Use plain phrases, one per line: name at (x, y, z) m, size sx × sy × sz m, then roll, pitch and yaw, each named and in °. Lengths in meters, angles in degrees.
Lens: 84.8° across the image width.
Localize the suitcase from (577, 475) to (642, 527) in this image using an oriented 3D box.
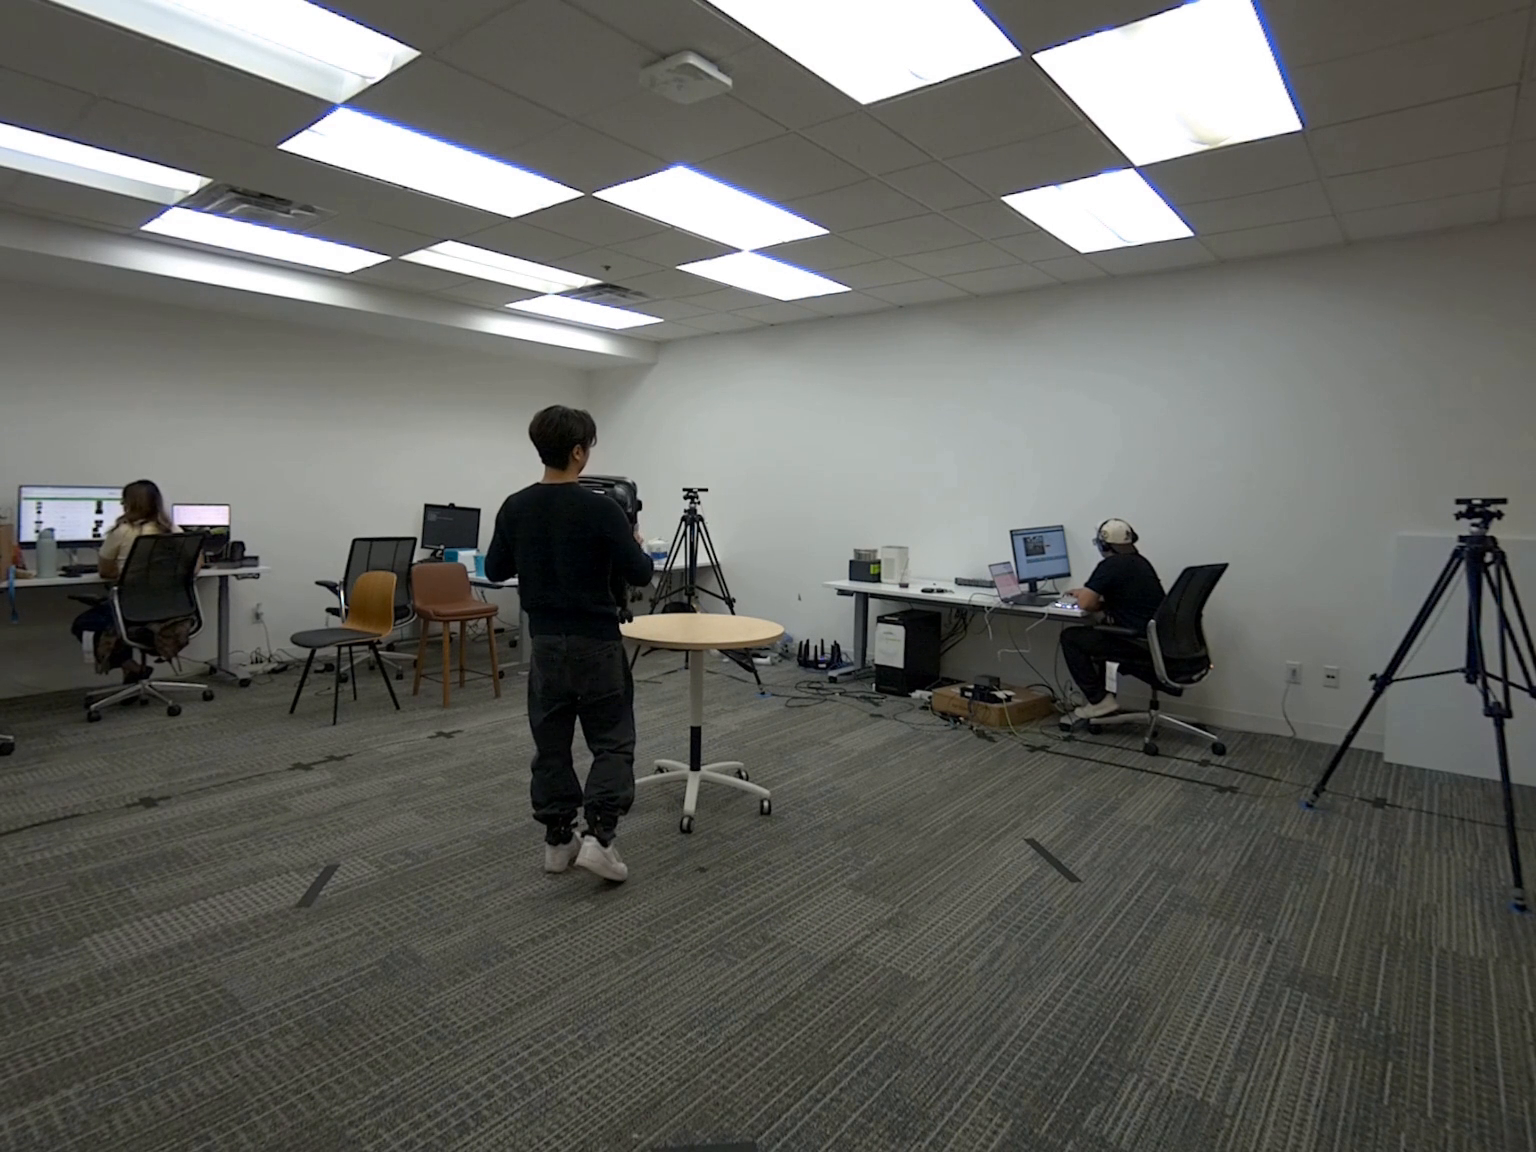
suitcase at (-0.705, -0.129, 3.370) m, size 0.377 × 0.540 × 0.251 m, roll 3°, pitch 19°, yaw 4°
